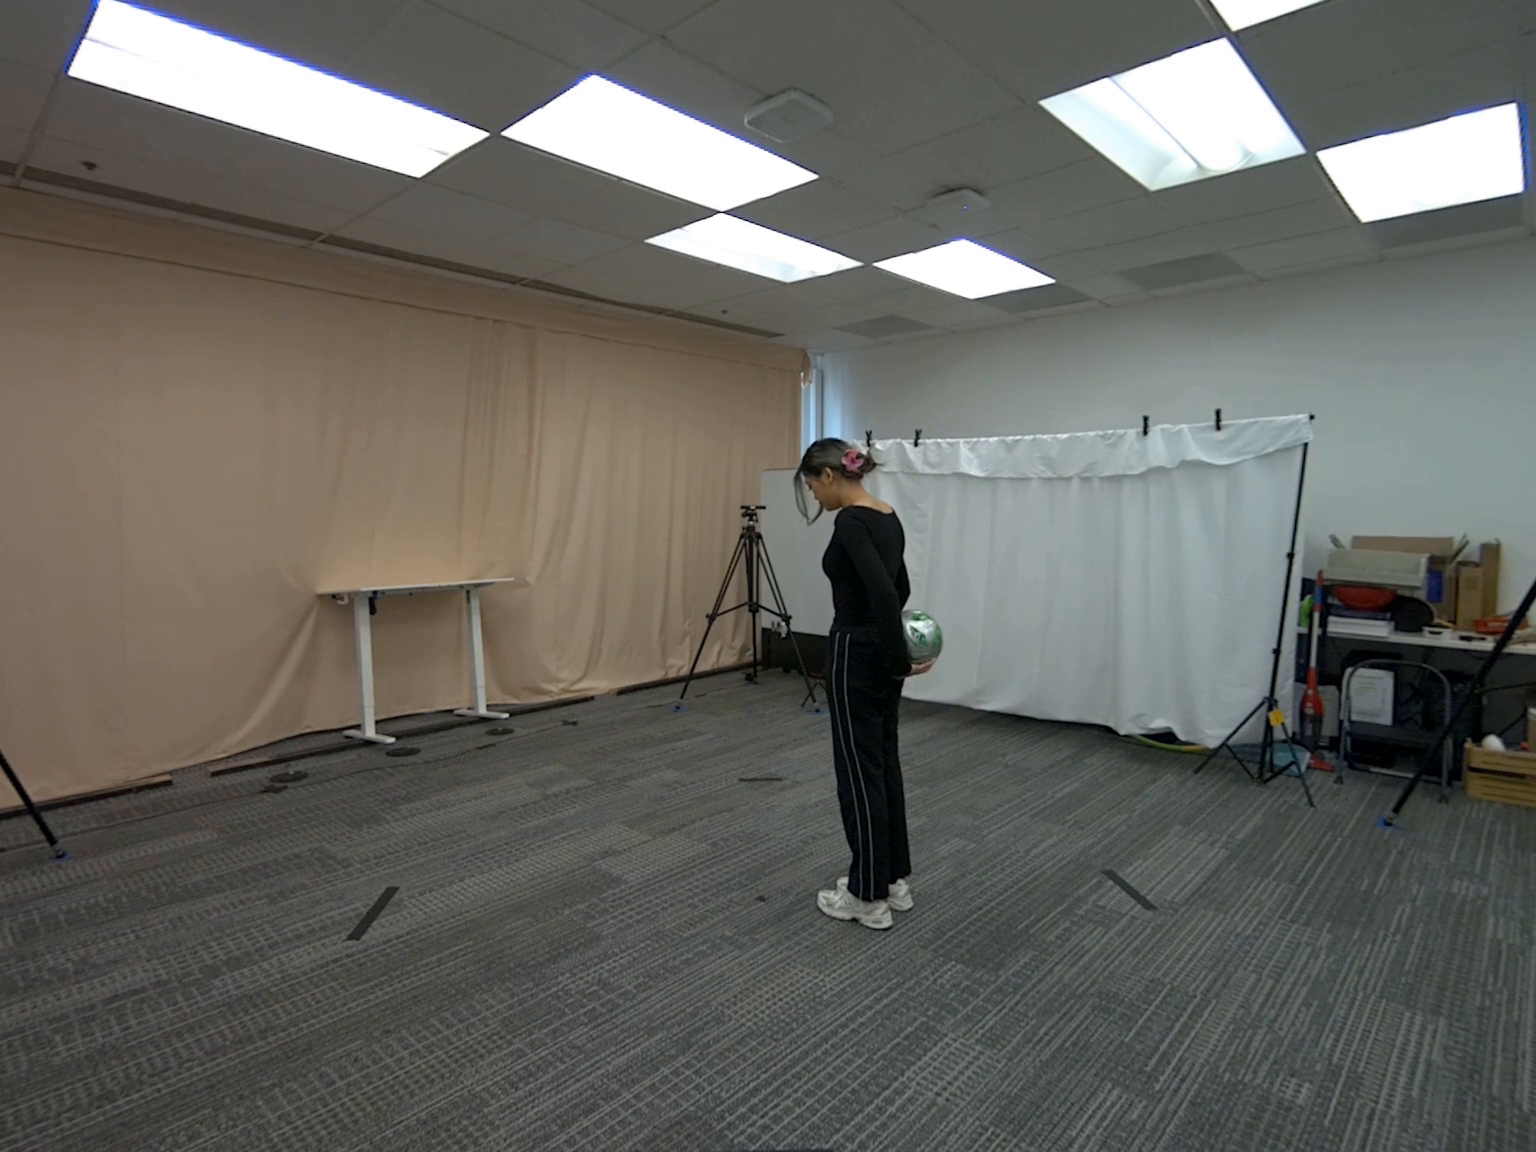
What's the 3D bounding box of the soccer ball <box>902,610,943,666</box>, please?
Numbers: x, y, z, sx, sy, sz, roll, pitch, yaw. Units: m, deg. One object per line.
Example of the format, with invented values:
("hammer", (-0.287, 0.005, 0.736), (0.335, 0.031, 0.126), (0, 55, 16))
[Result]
("soccer ball", (0.458, 0.208, 2.660), (0.187, 0.187, 0.188), (0, 4, -2))
